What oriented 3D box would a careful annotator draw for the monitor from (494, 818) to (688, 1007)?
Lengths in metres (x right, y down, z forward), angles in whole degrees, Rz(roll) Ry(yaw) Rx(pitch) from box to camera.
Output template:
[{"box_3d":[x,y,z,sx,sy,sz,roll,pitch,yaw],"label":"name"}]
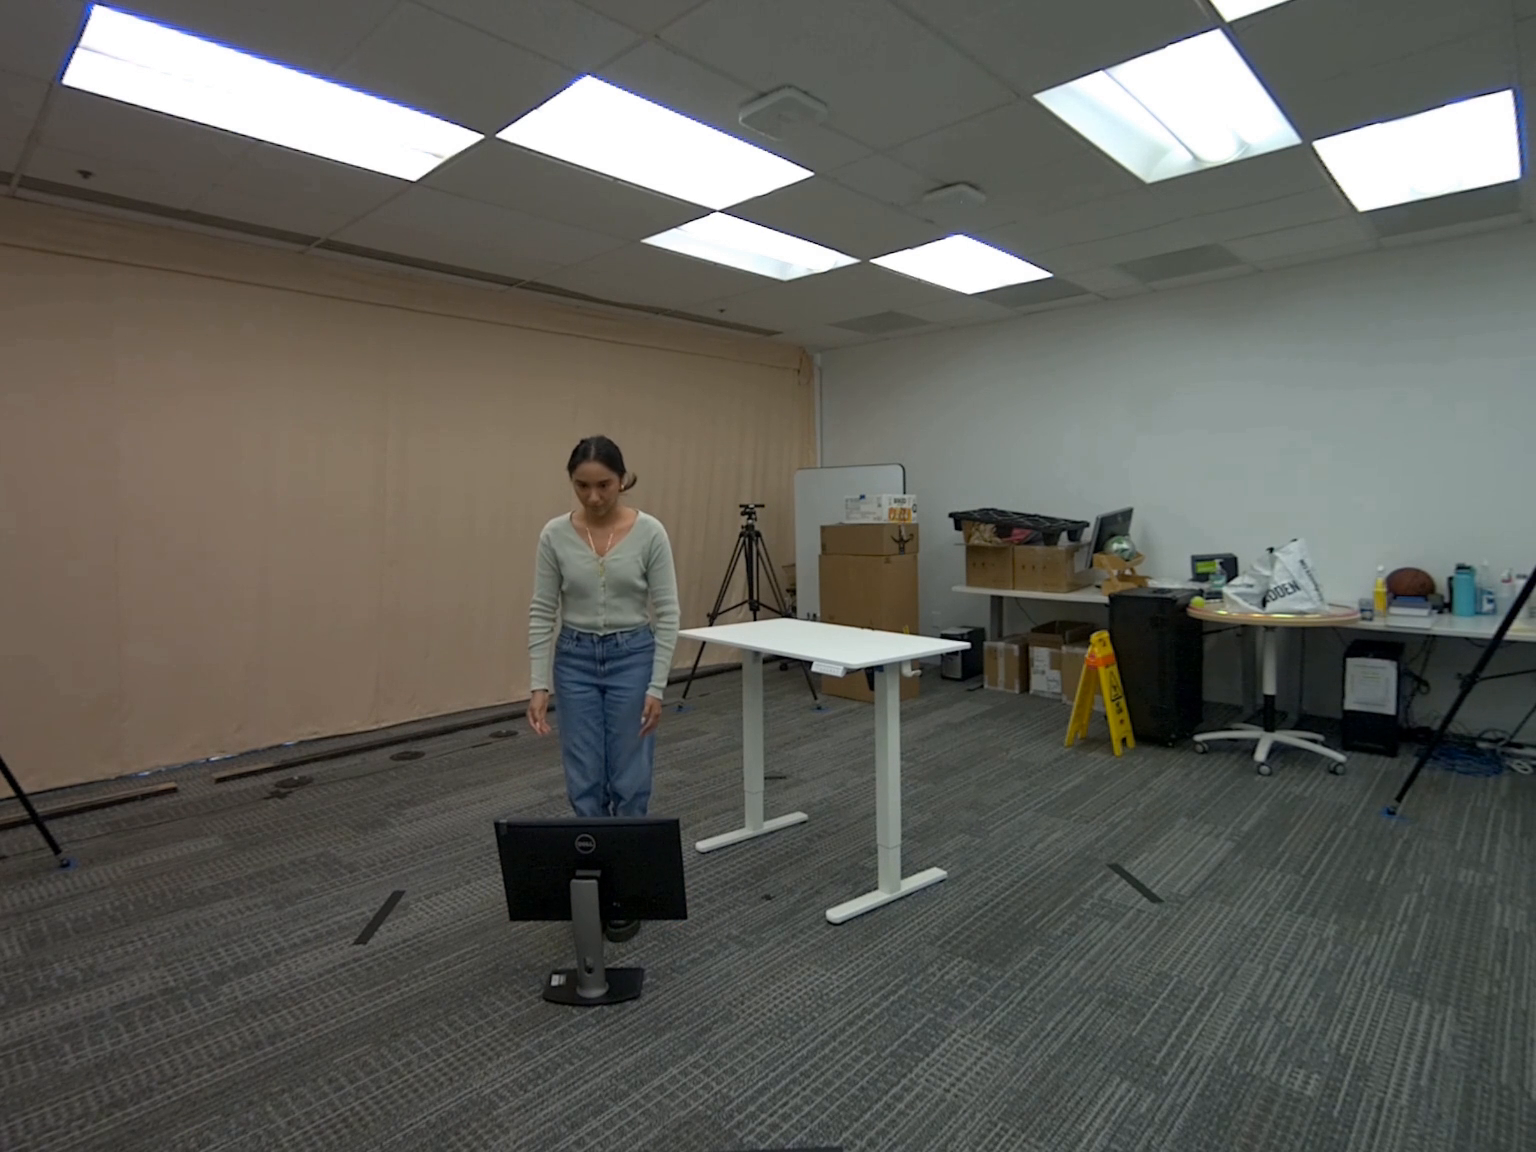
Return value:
[{"box_3d":[-0.513,0.941,2.426,0.540,0.521,0.187,-3,4,1],"label":"monitor"}]
